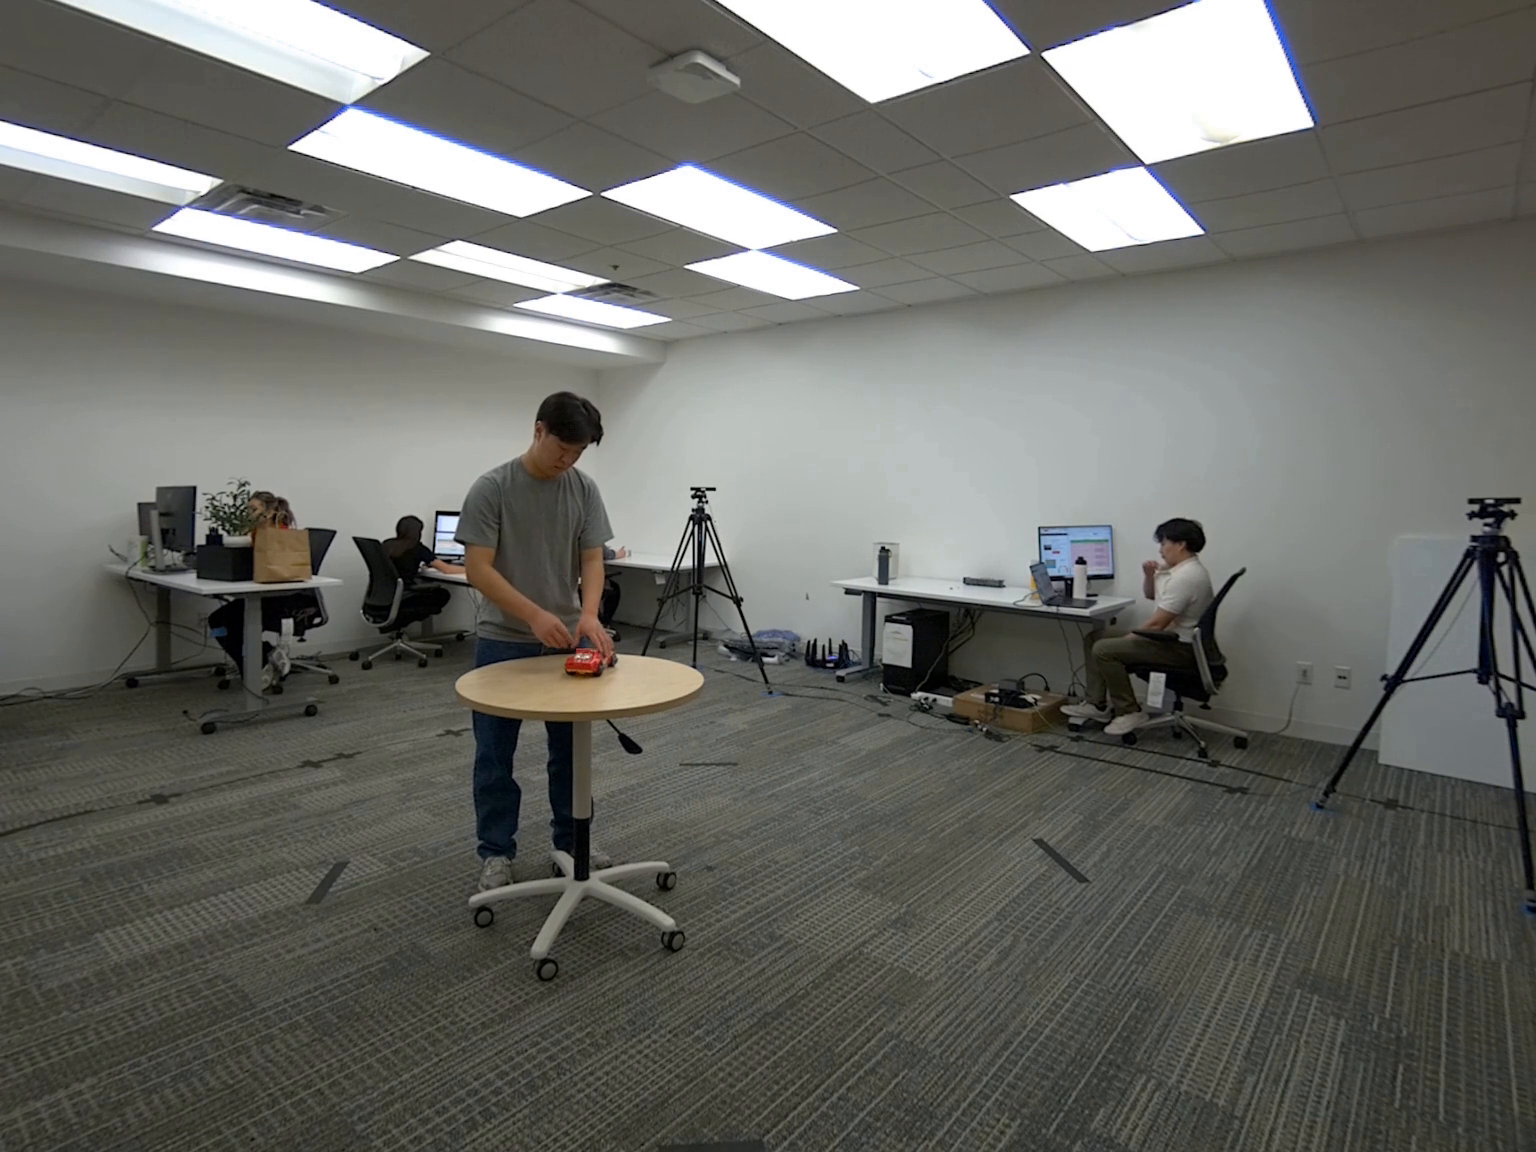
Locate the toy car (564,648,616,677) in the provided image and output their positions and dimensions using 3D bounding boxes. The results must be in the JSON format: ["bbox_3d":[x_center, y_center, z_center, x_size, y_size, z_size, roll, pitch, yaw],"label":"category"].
[{"bbox_3d":[-0.595,0.281,2.751,0.131,0.084,0.251,0,-6,5],"label":"toy car"}]
